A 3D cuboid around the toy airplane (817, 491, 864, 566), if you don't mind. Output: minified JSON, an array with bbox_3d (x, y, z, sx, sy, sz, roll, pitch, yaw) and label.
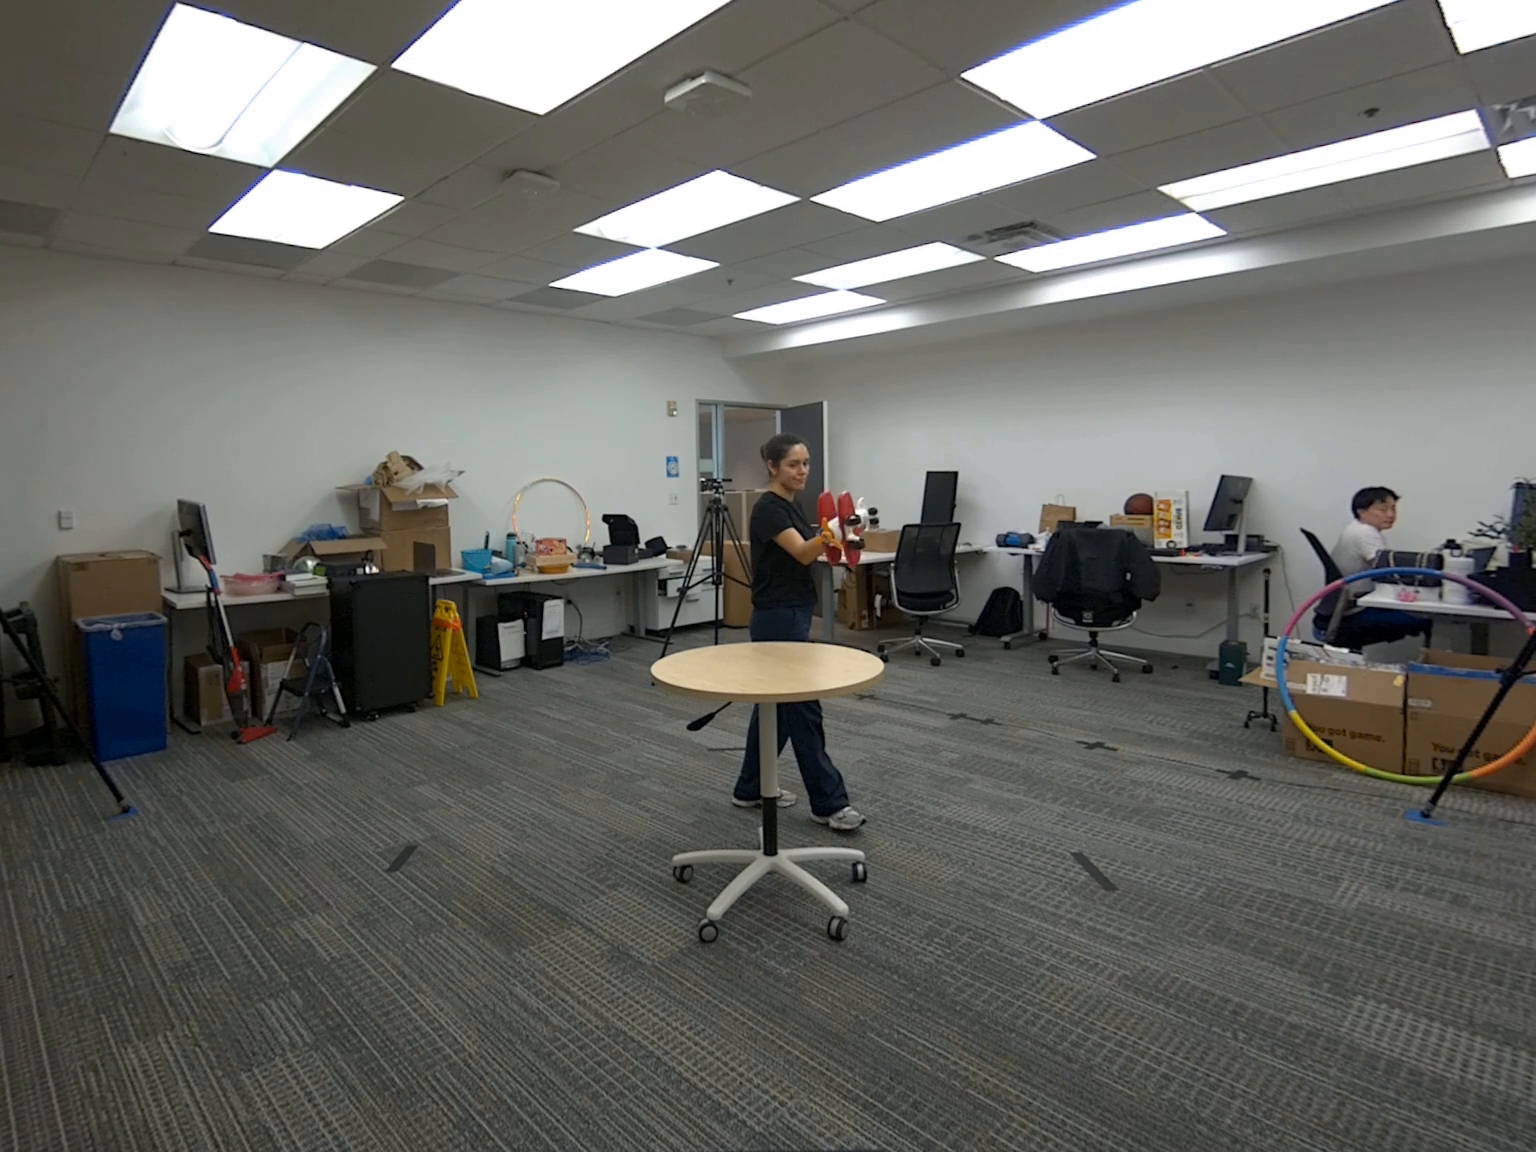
[{"bbox_3d":[0.267,-0.153,2.932,0.160,0.253,0.251,-1,-8,28],"label":"toy airplane"}]
